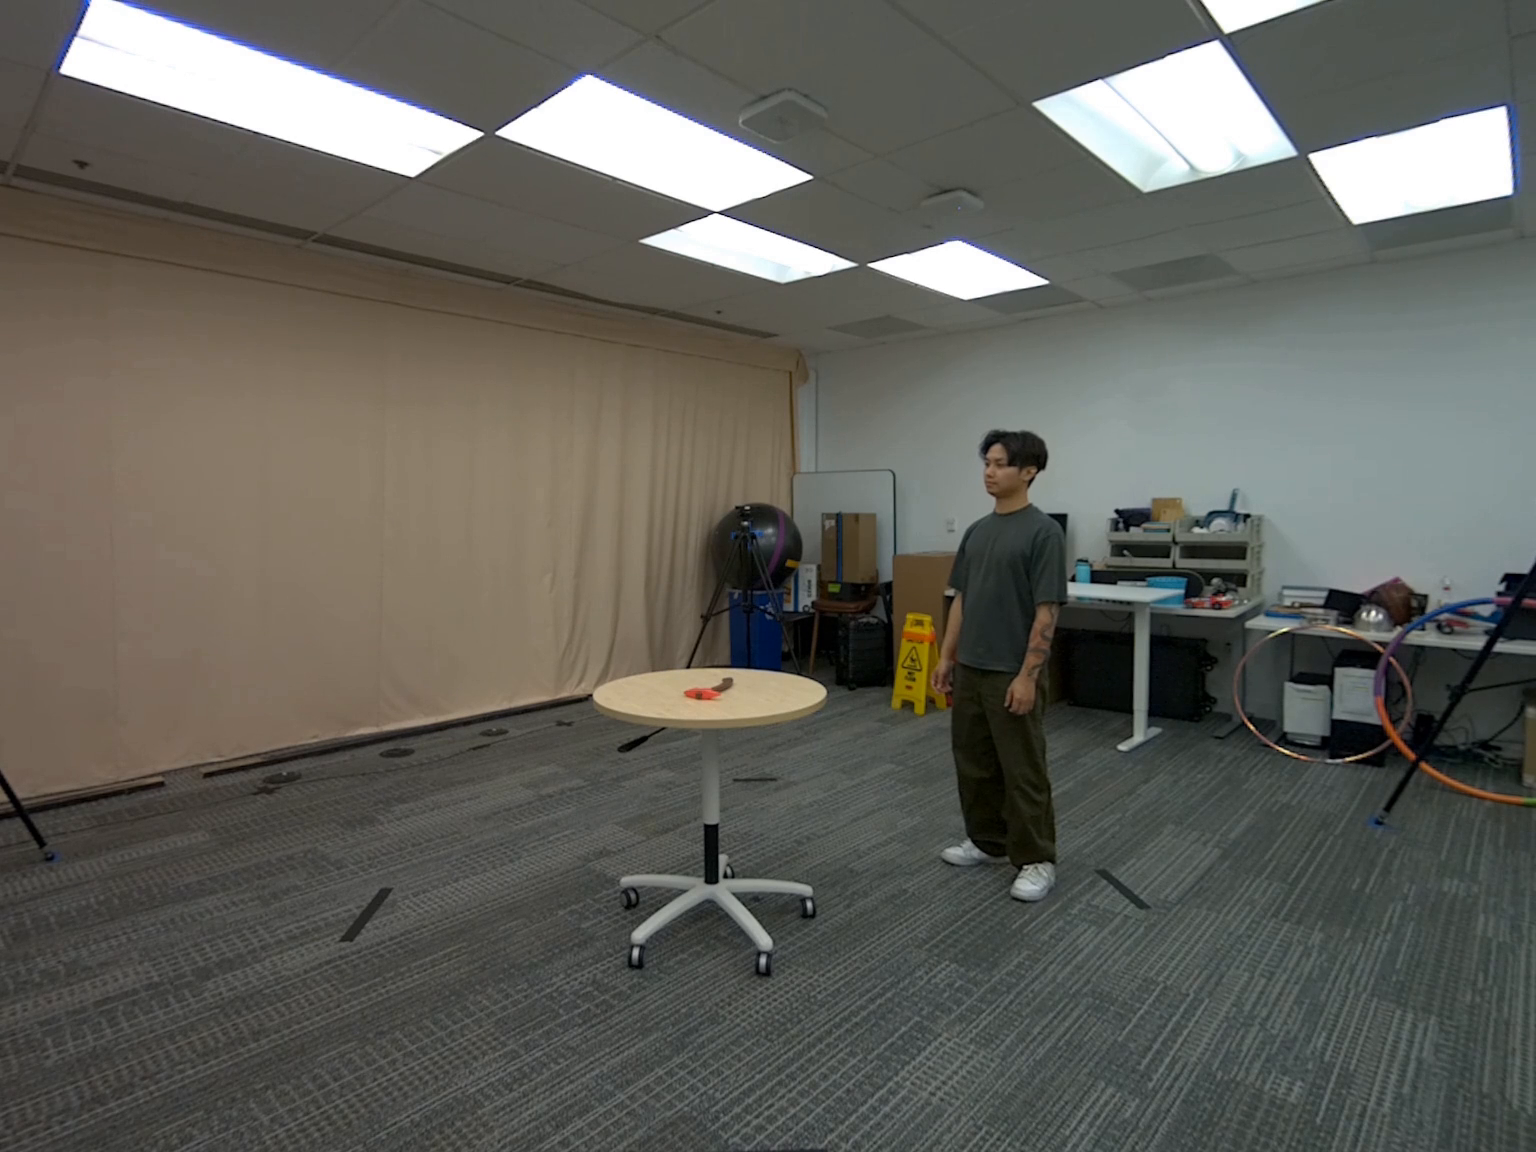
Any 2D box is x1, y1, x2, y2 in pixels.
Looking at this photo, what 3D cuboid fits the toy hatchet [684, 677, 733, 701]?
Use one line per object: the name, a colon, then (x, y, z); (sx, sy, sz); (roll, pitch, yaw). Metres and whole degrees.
toy hatchet: (-0.192, 0.368, 2.768); (0.132, 0.029, 0.268); (-4, 2, 7)
